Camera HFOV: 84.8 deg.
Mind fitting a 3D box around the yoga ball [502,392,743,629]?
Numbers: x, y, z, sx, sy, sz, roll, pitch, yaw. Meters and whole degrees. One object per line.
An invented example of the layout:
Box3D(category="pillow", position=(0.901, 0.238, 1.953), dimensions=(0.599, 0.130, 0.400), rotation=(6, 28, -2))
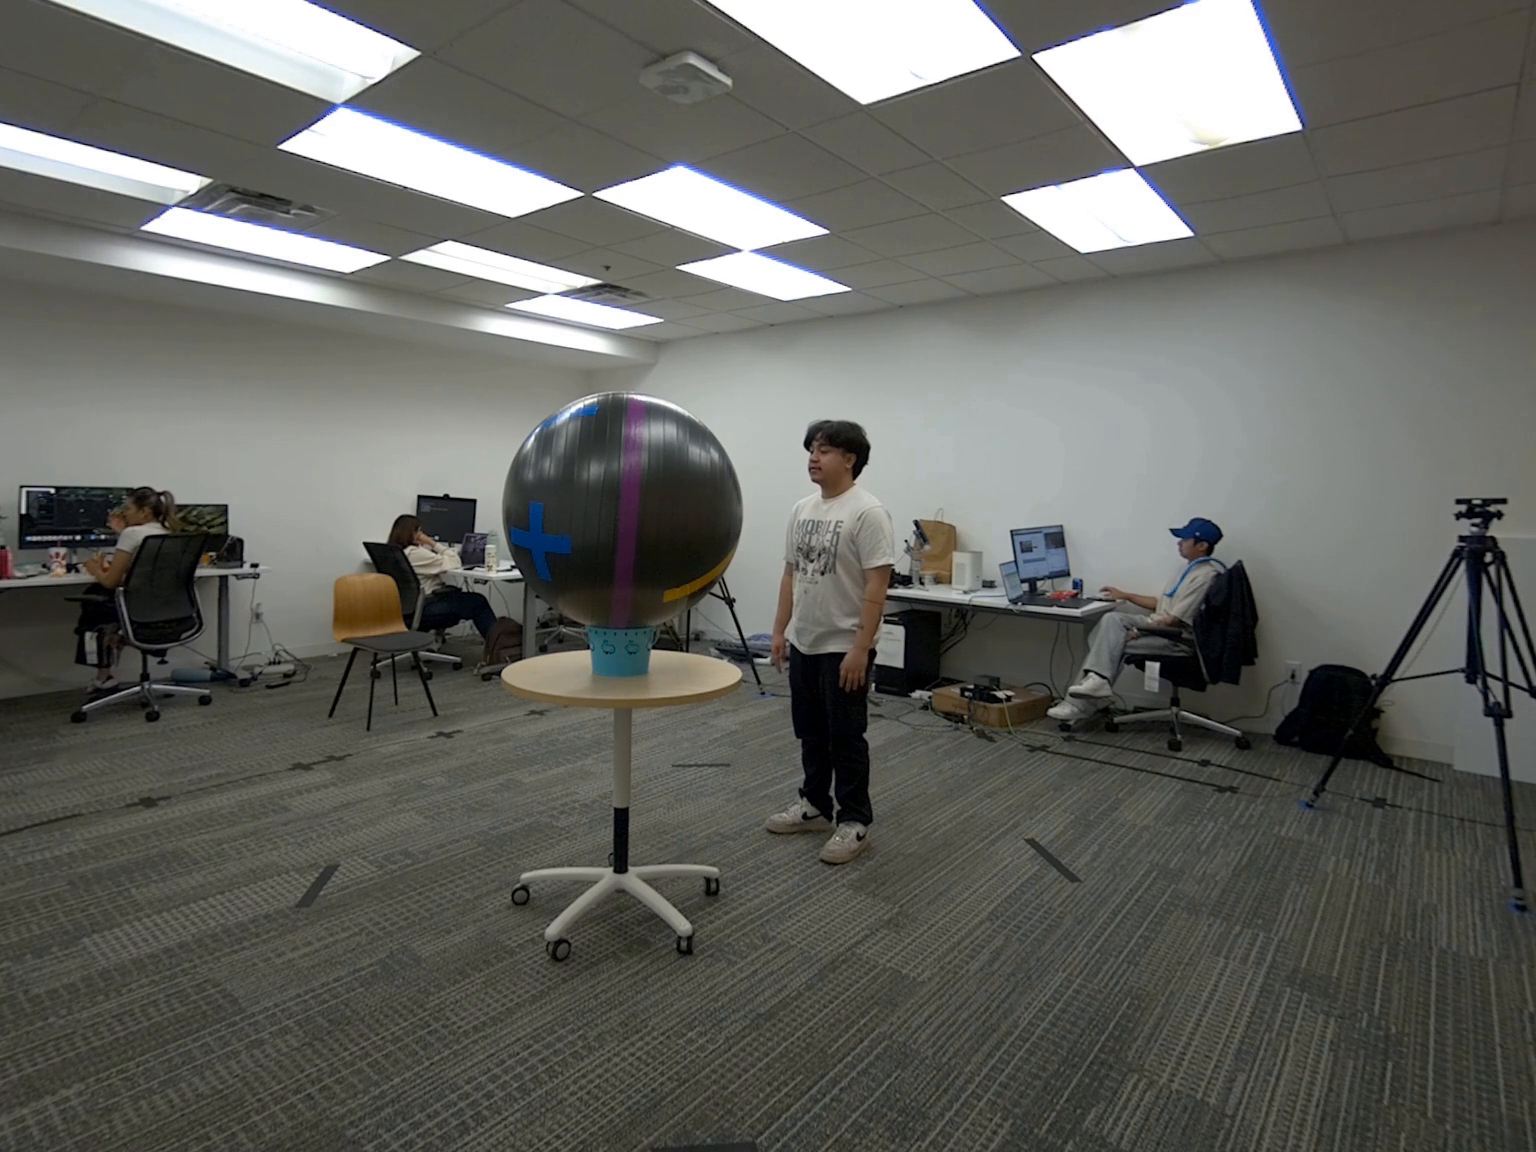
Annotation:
Box3D(category="yoga ball", position=(-0.468, -0.205, 2.724), dimensions=(0.757, 0.756, 0.761), rotation=(1, 4, -2))
